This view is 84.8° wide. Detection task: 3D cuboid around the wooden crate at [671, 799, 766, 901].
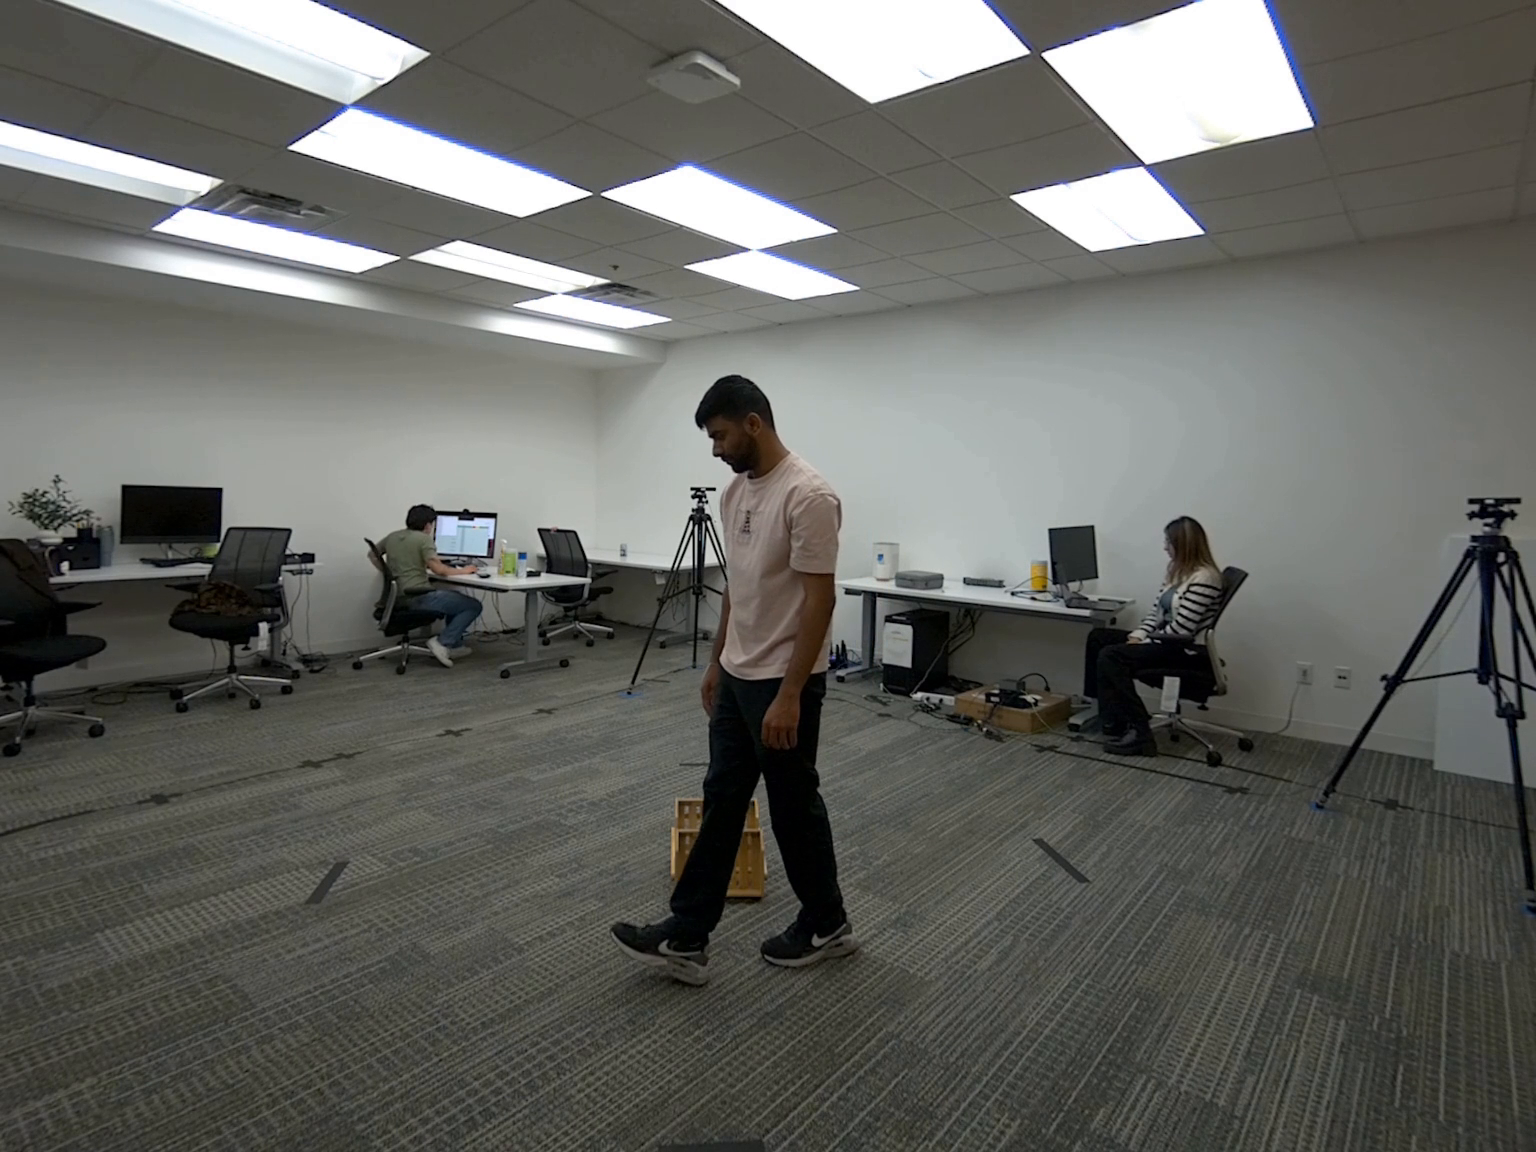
[{"bbox_3d":[-0.186,0.941,2.995,0.323,0.306,0.271,1,-13,-5],"label":"wooden crate"}]
